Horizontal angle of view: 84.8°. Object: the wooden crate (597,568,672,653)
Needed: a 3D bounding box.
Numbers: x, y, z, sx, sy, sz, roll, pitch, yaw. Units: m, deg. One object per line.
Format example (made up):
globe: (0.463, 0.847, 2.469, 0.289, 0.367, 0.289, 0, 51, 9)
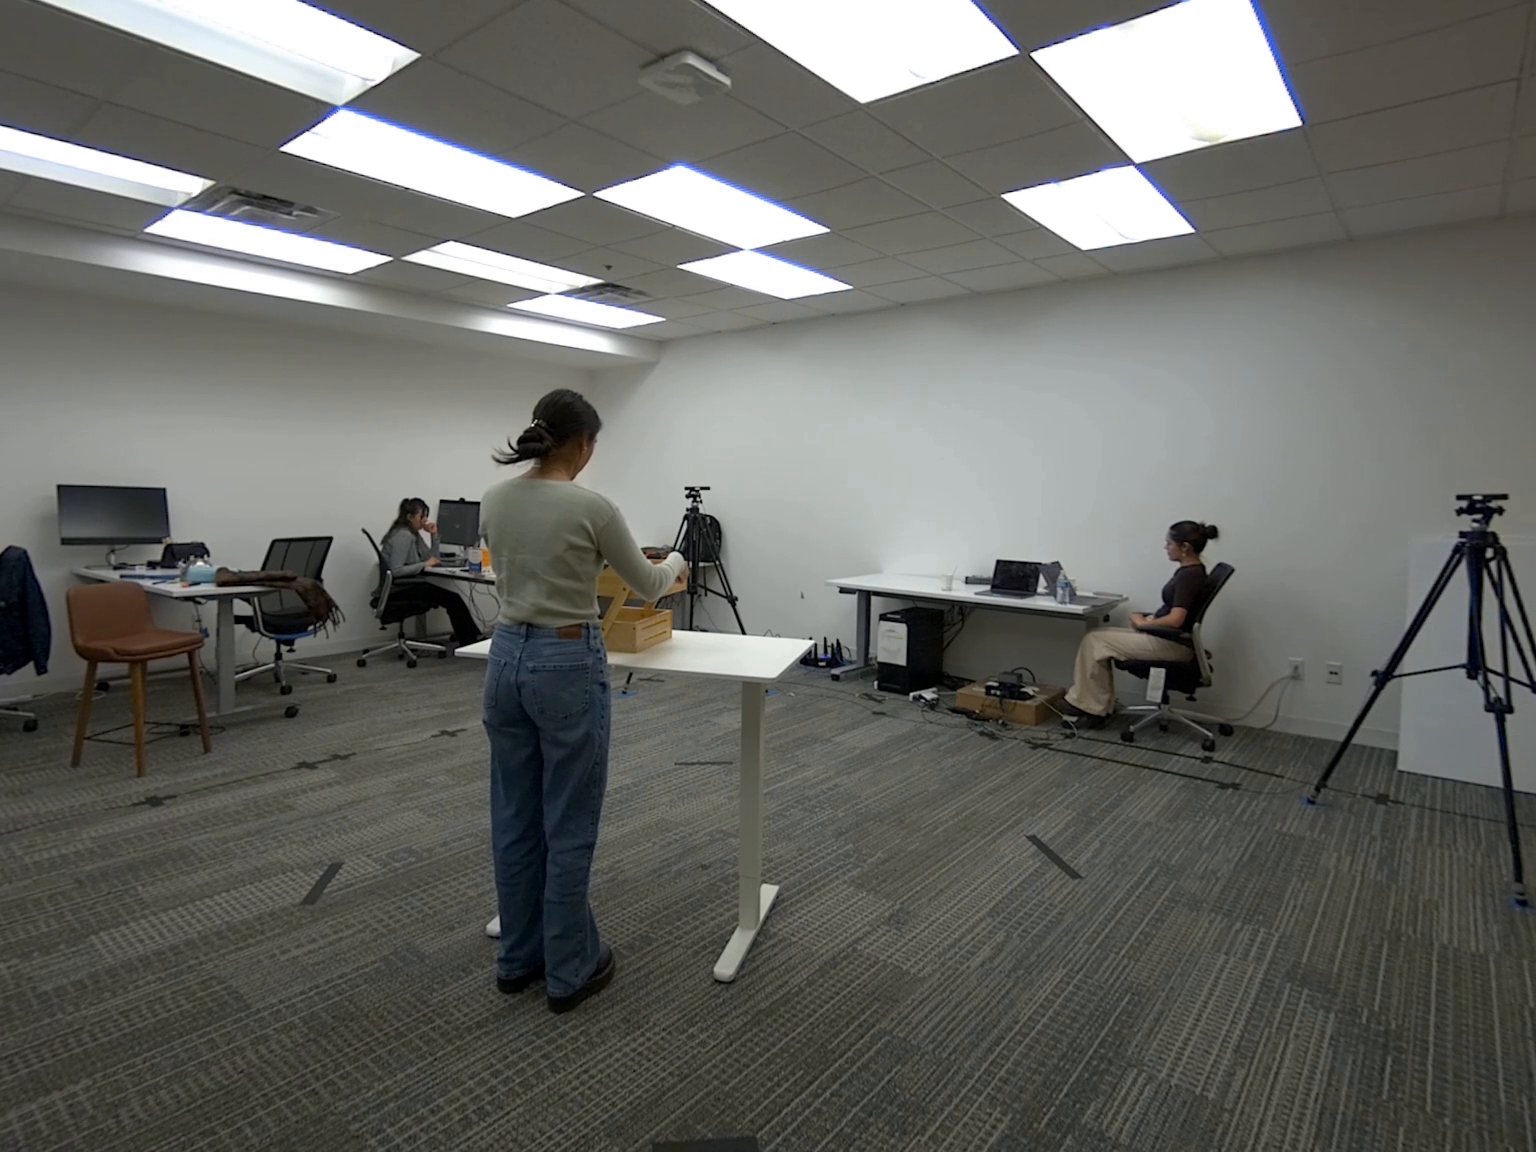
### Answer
wooden crate: (-0.469, 0.081, 2.758, 0.307, 0.272, 0.320, 3, 5, 15)
